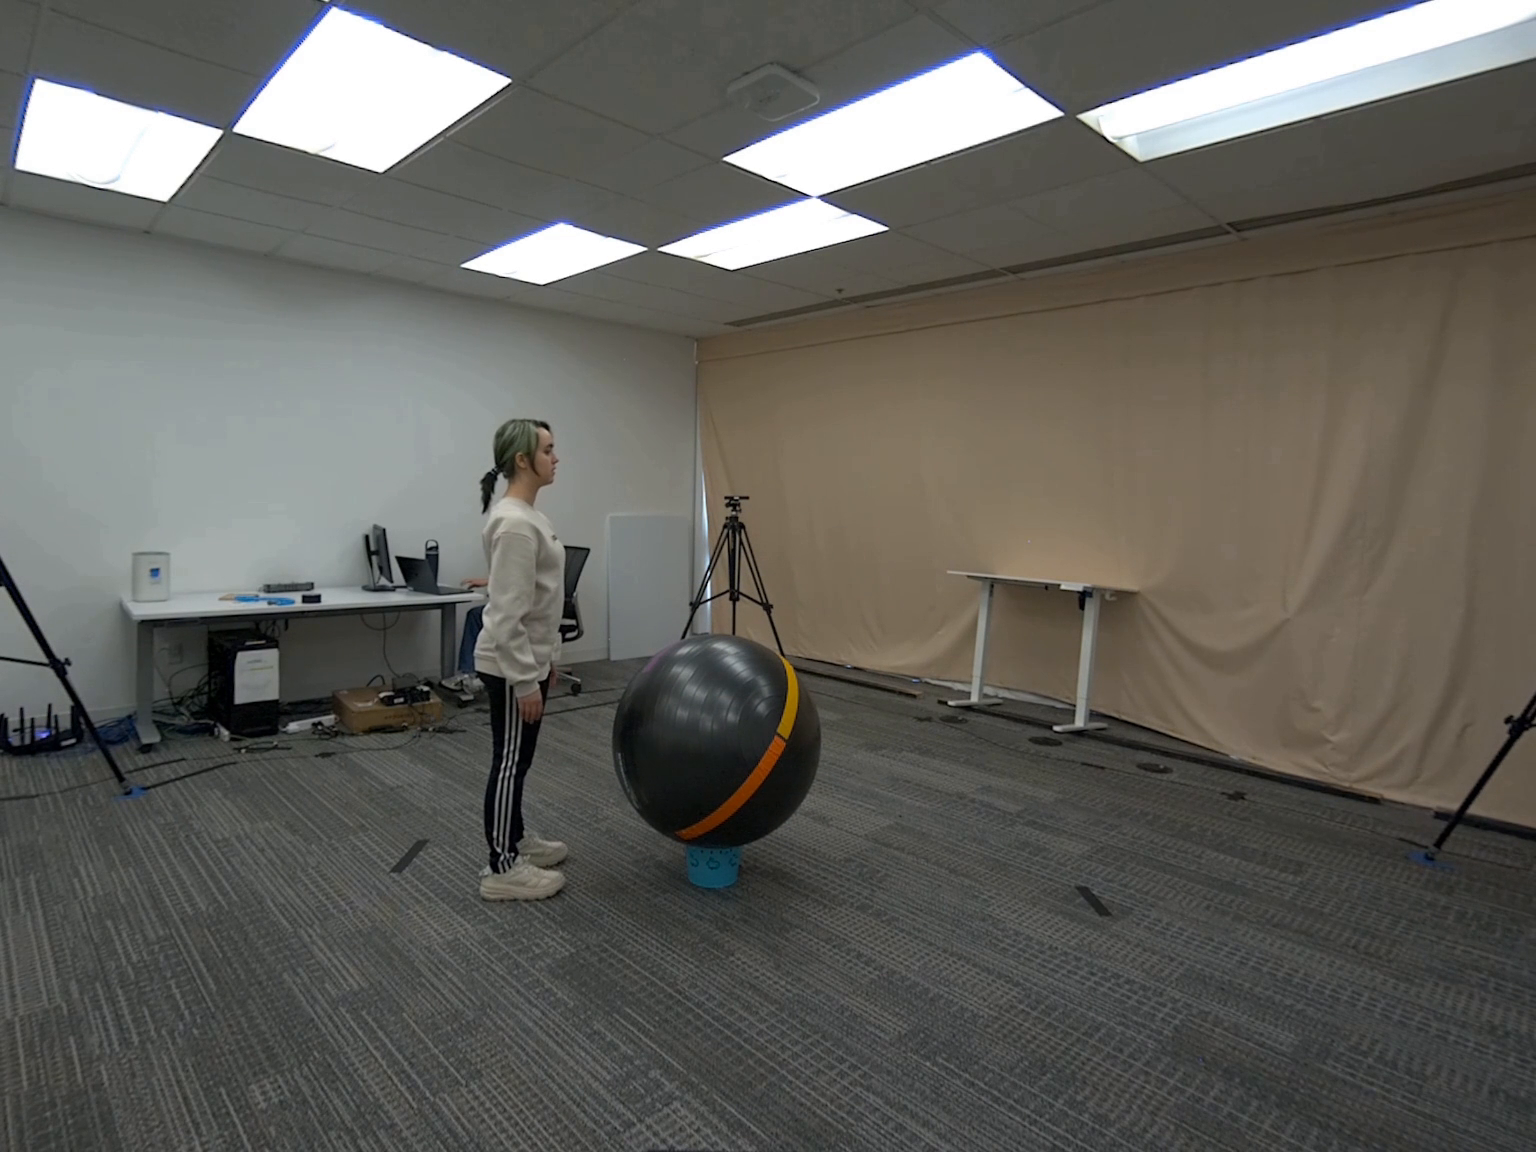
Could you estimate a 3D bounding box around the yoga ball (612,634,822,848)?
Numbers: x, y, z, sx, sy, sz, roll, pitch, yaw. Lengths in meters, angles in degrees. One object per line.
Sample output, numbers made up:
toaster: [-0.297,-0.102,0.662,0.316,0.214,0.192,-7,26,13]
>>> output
yoga ball: [-0.191,0.593,3.065,0.757,0.756,0.761,1,4,-1]
